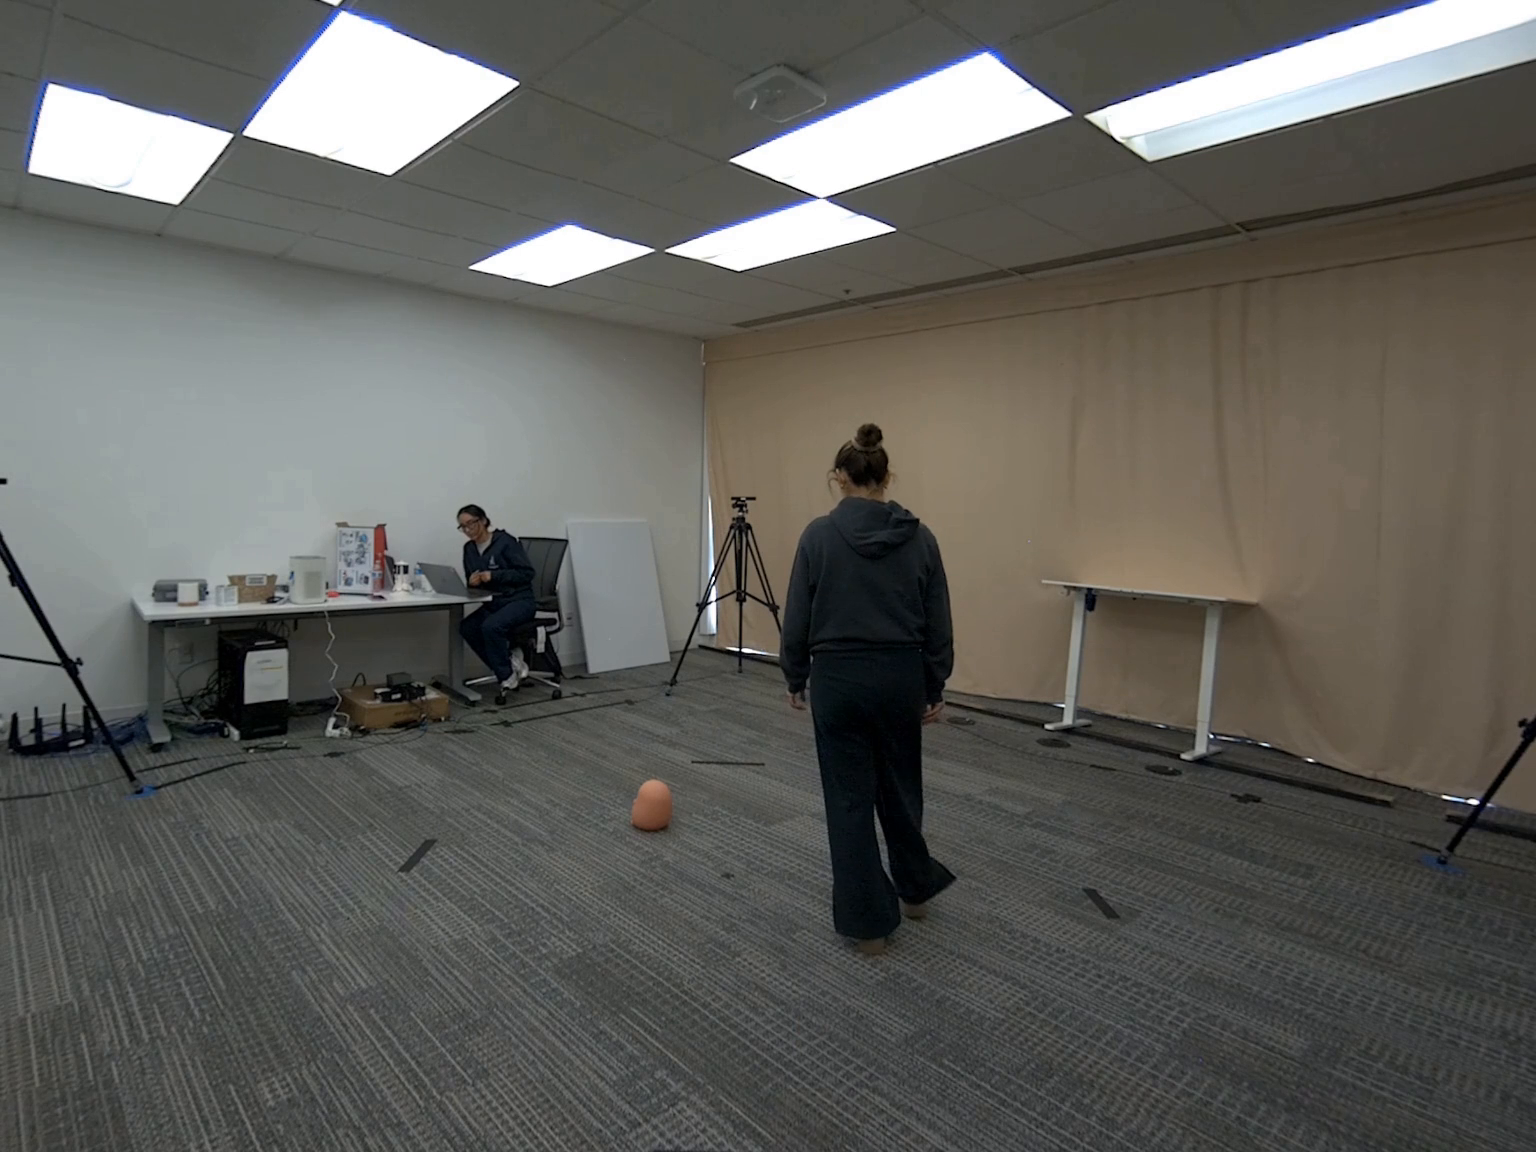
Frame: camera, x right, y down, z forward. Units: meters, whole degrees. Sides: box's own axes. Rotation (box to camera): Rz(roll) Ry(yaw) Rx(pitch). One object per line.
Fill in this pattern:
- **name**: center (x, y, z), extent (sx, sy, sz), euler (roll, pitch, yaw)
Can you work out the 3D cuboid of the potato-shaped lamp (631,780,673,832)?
- **potato-shaped lamp**: center (-0.500, 0.961, 3.559), extent (0.176, 0.197, 0.161), euler (6, 5, 43)
